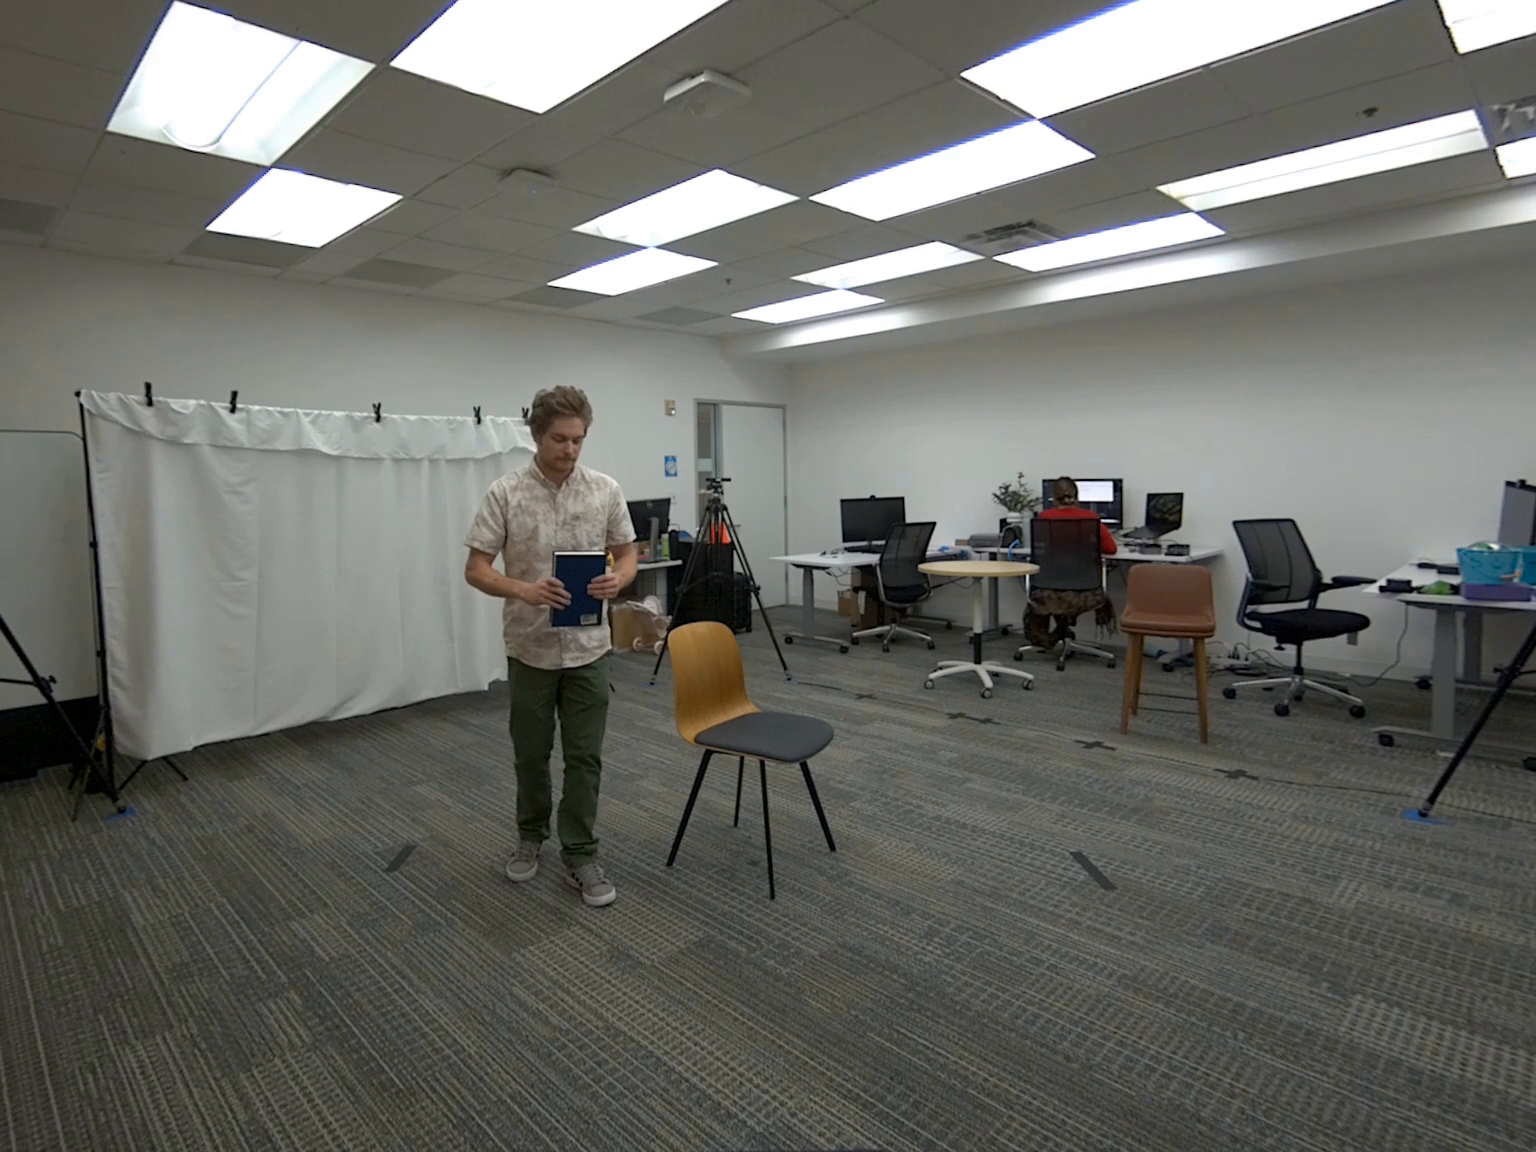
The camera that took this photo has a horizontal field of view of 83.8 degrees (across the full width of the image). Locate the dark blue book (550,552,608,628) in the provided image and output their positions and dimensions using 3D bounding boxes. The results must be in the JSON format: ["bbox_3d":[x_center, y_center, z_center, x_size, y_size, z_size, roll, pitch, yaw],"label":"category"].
[{"bbox_3d":[-0.619,0.044,2.707,0.160,0.242,0.046,0,18,-22],"label":"dark blue book"}]
